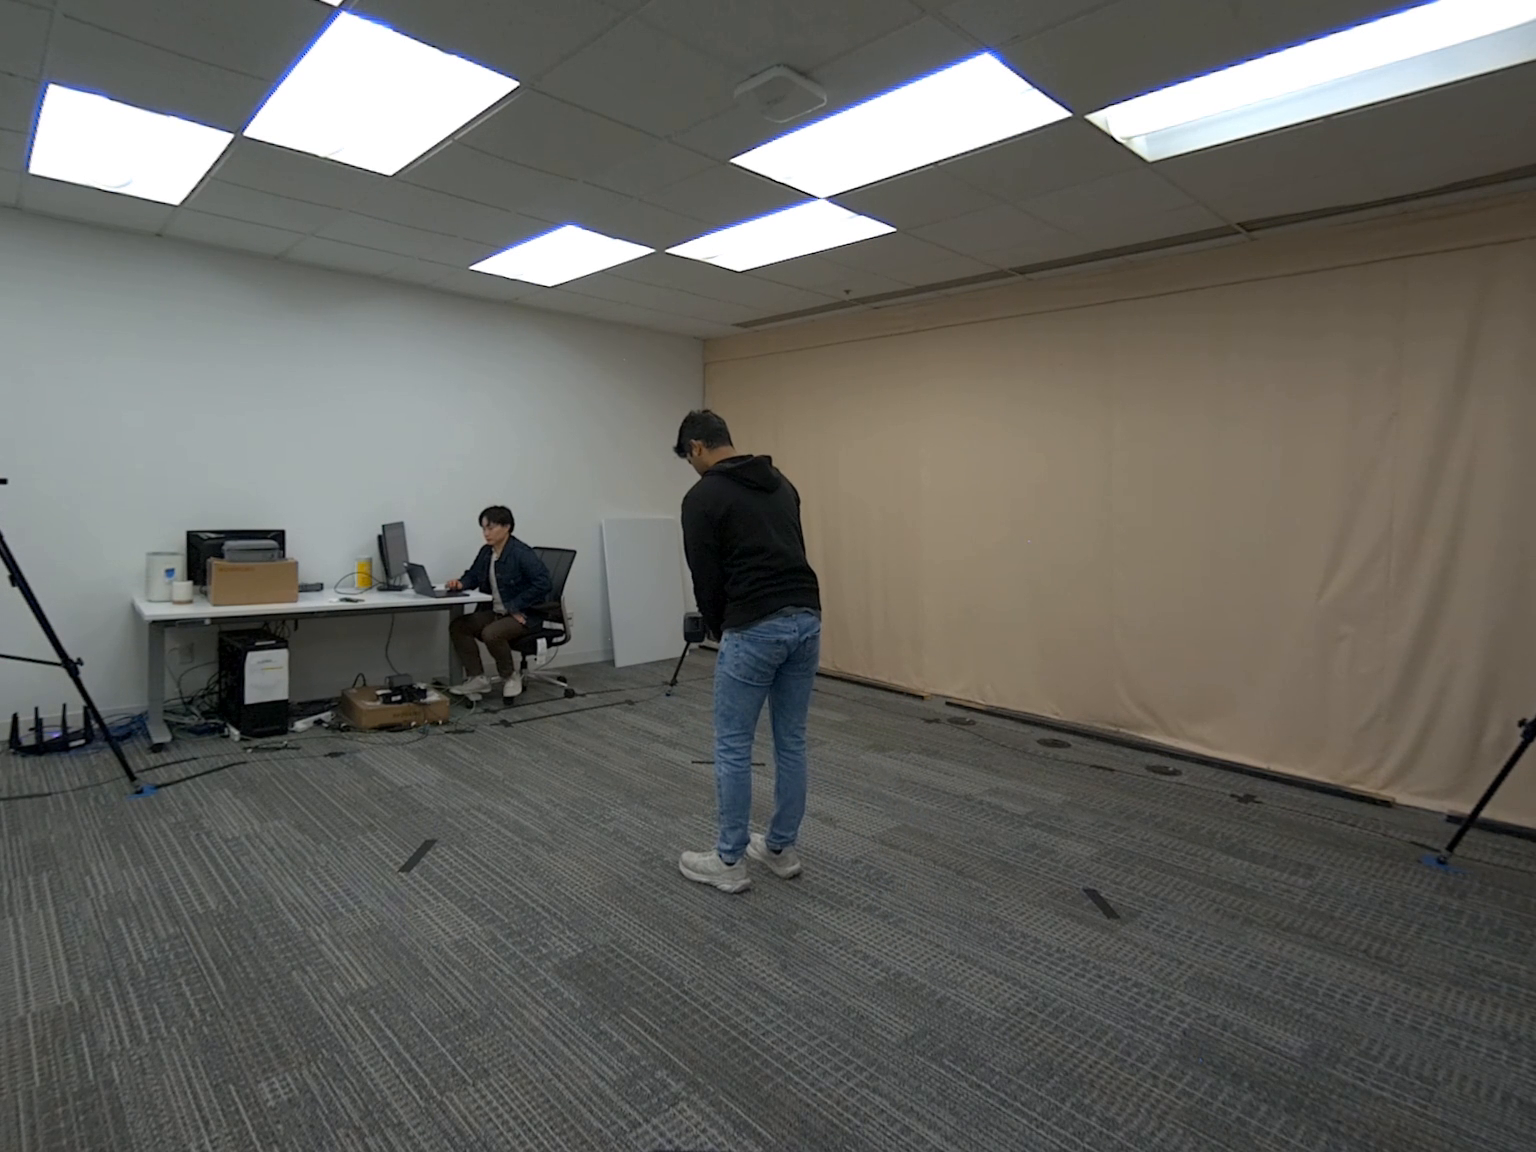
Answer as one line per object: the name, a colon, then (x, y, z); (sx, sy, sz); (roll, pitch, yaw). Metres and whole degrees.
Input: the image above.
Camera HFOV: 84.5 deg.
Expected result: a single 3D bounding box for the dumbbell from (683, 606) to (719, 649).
dumbbell: (-0.180, 0.199, 3.284); (0.292, 0.120, 0.111); (1, 39, -5)
